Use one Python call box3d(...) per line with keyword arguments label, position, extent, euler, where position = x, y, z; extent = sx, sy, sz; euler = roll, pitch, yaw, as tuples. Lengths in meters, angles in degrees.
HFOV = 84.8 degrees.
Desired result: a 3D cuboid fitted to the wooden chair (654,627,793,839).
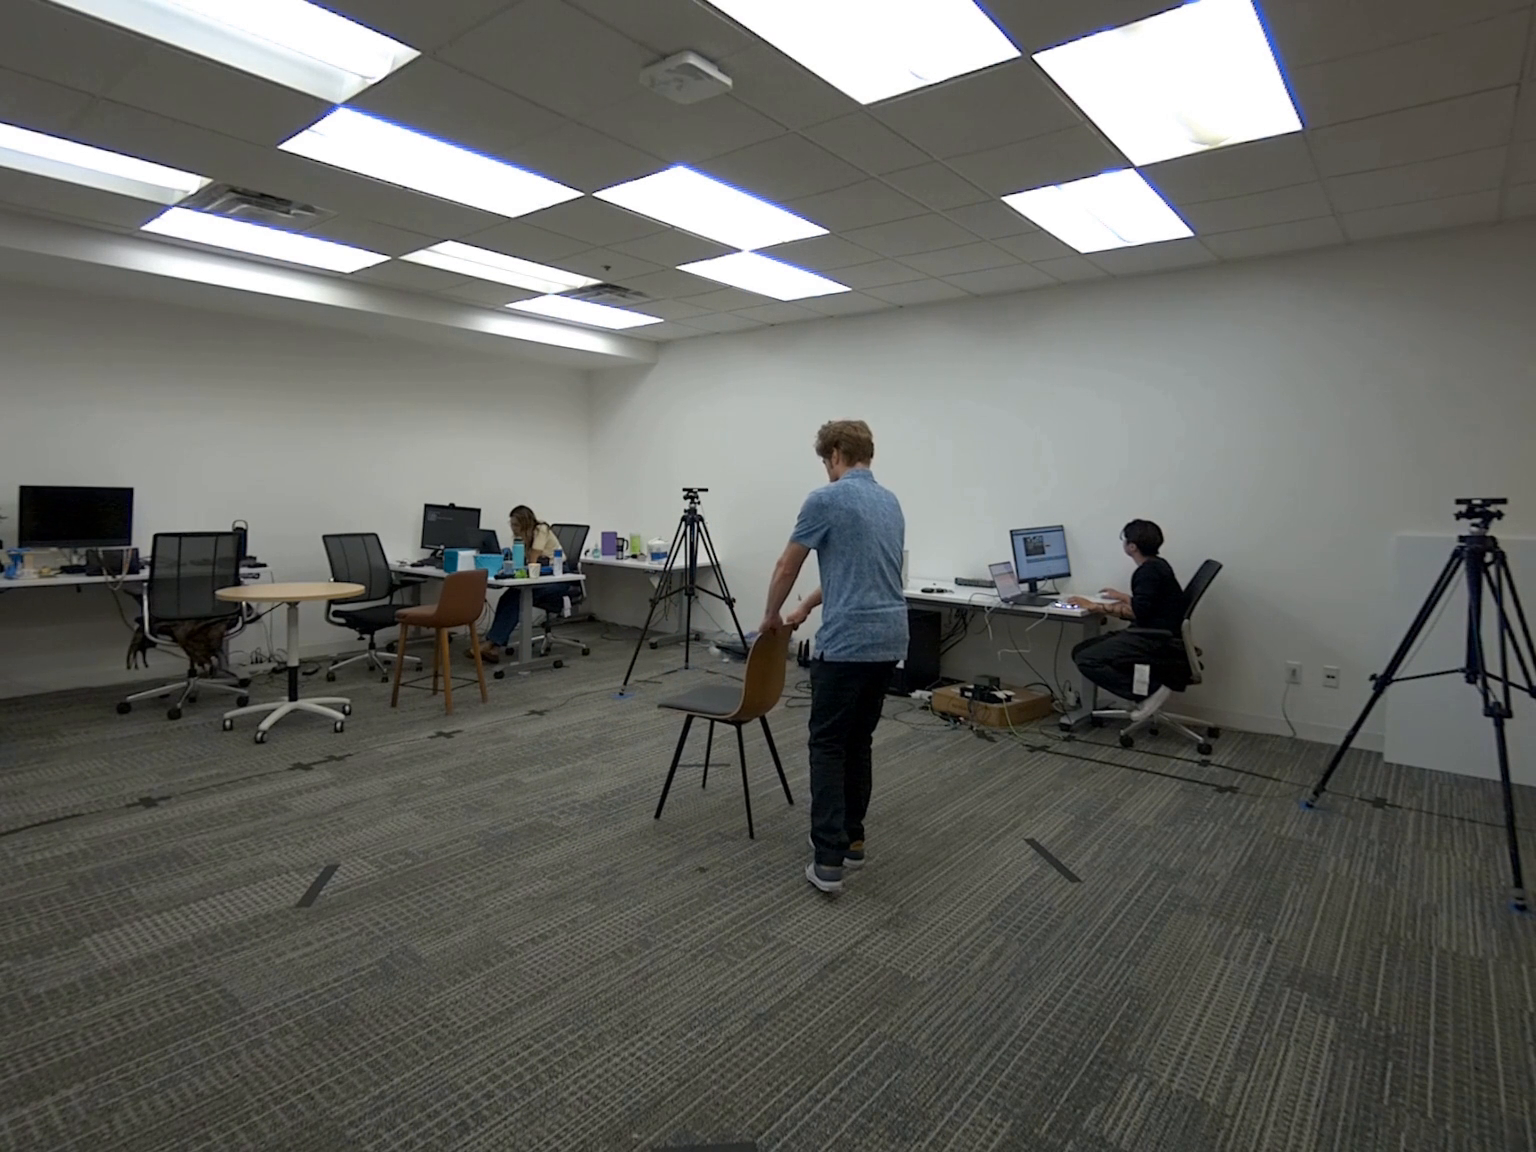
box3d(label="wooden chair", position=(-0.193, 0.588, 3.652), extent=(0.538, 0.874, 0.467), euler=(7, 6, 25))
